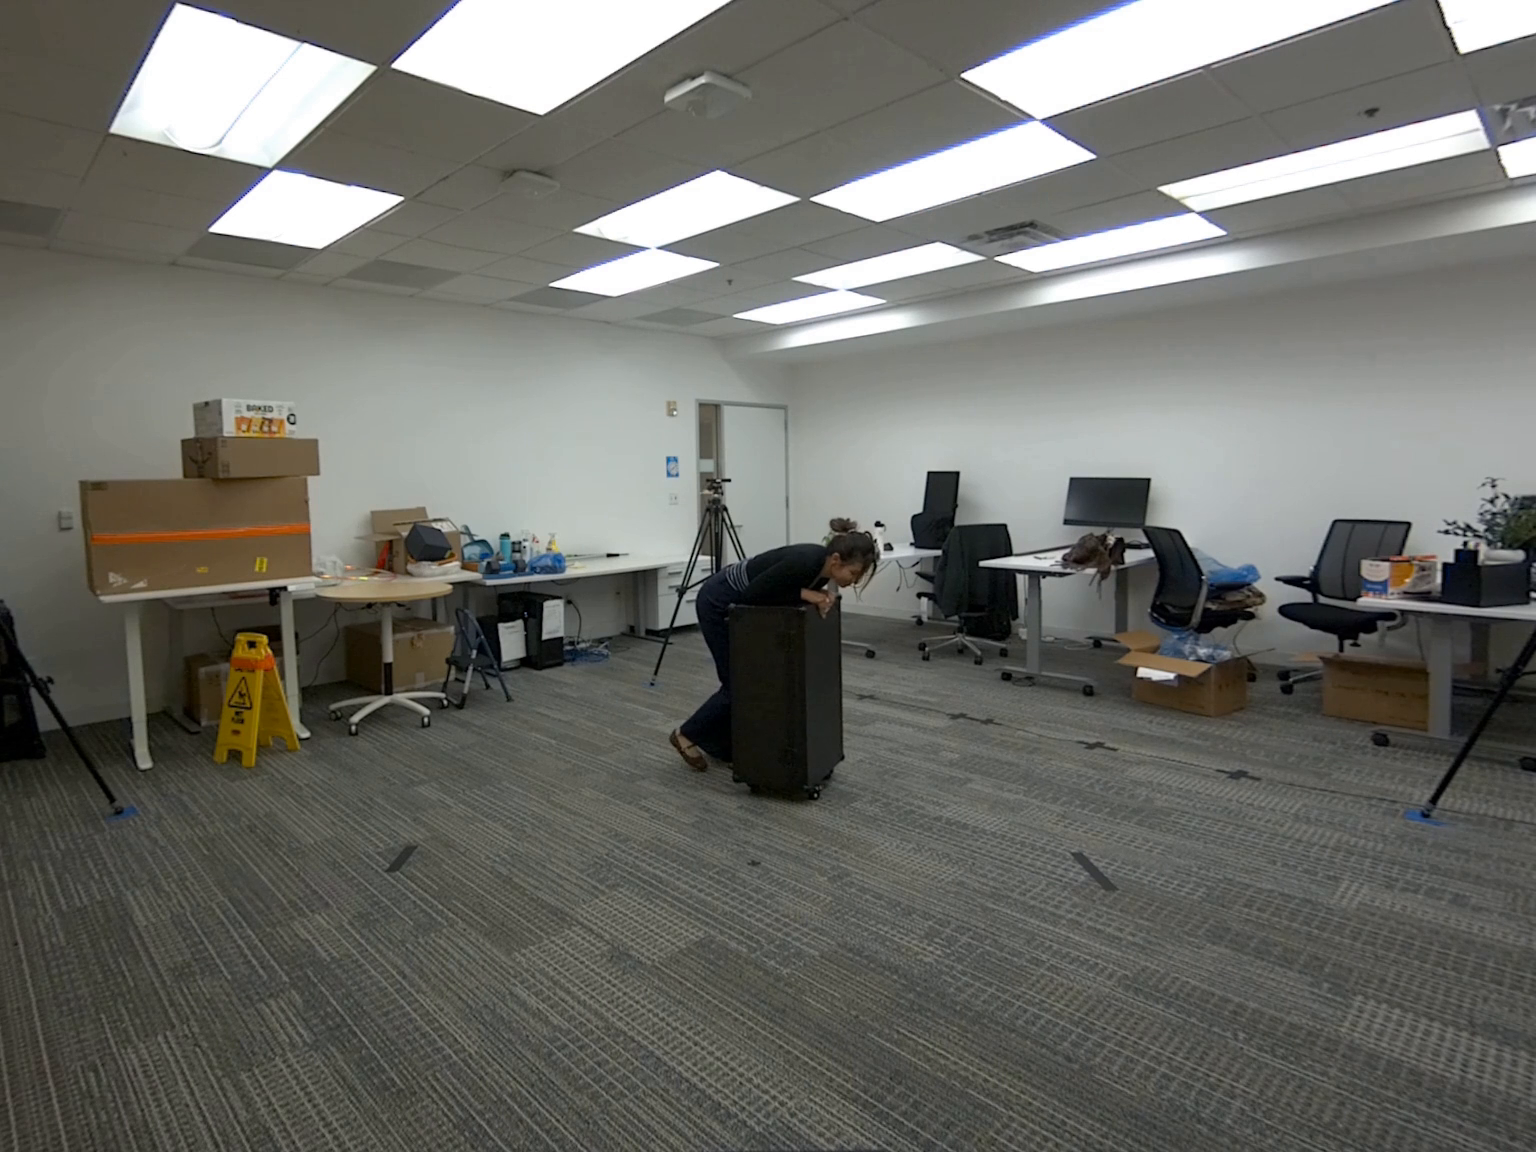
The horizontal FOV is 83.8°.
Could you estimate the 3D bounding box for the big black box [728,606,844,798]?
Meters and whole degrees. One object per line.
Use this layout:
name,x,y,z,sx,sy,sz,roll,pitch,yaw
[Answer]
big black box,0.086,0.539,3.867,0.405,0.858,0.512,-1,4,24
